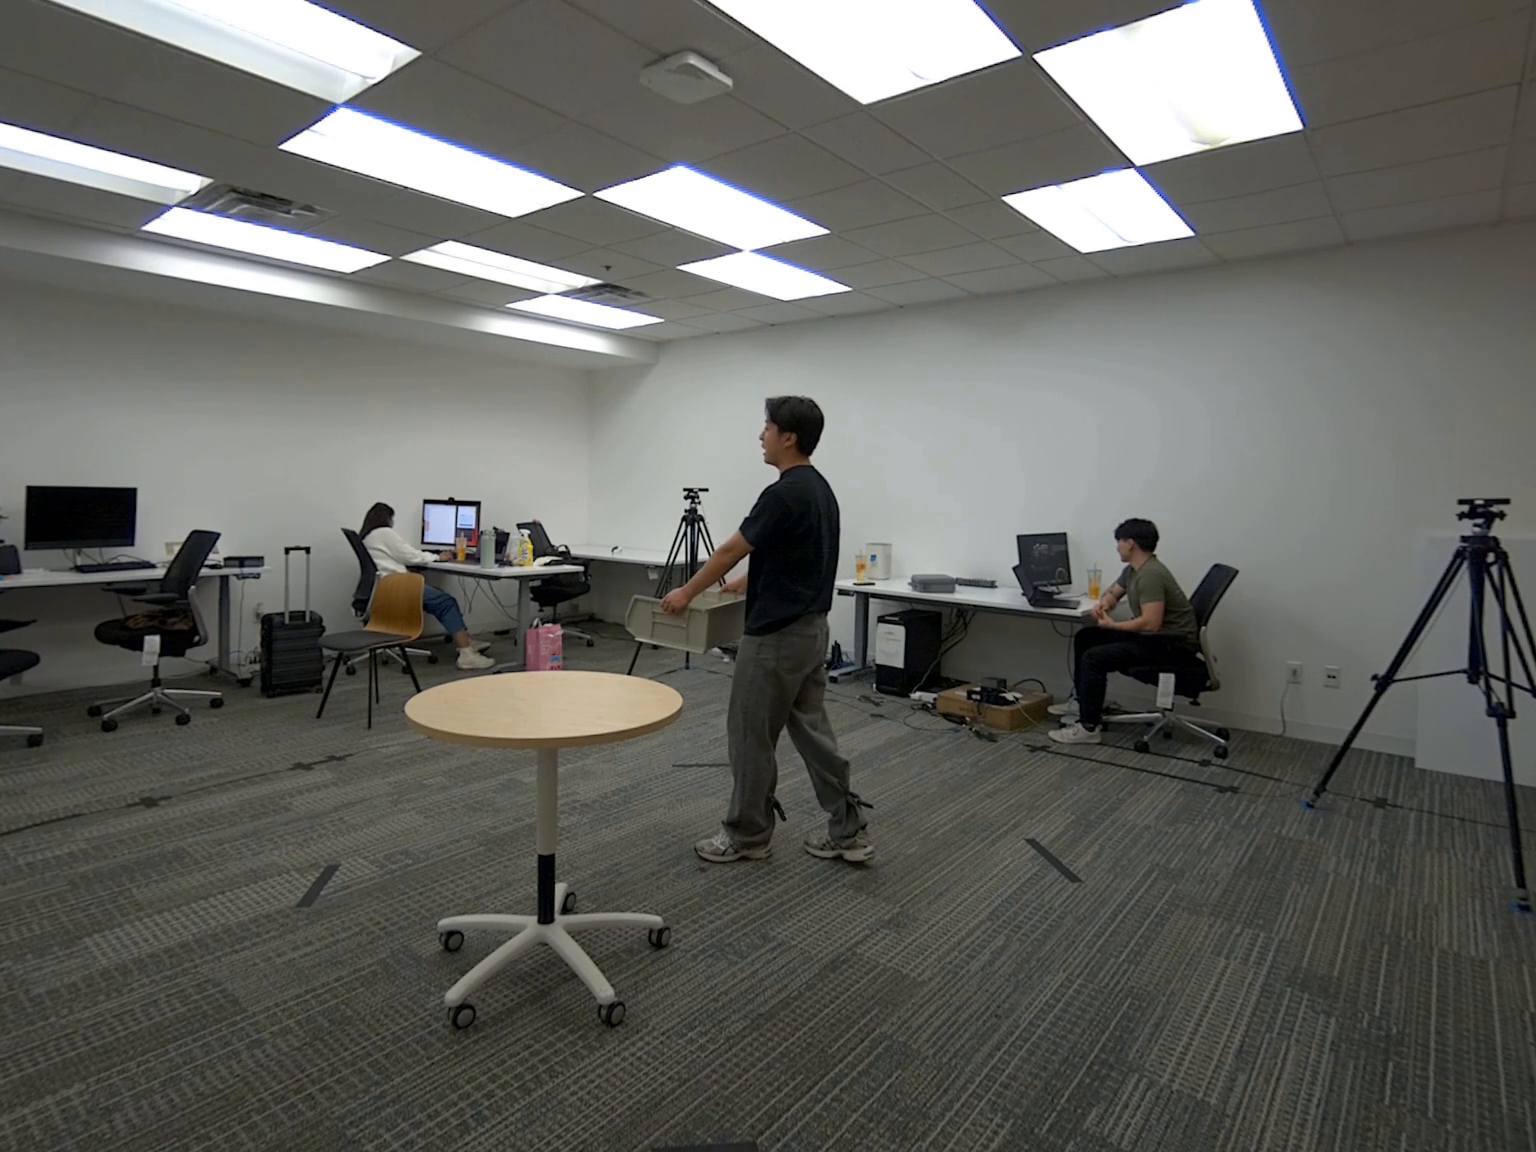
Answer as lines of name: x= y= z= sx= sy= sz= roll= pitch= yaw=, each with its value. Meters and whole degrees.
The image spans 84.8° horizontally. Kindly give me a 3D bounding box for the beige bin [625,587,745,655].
beige bin: x=-0.324 y=0.159 z=3.457 sx=0.388 sy=0.188 sz=0.412 roll=10 pitch=9 yaw=26
